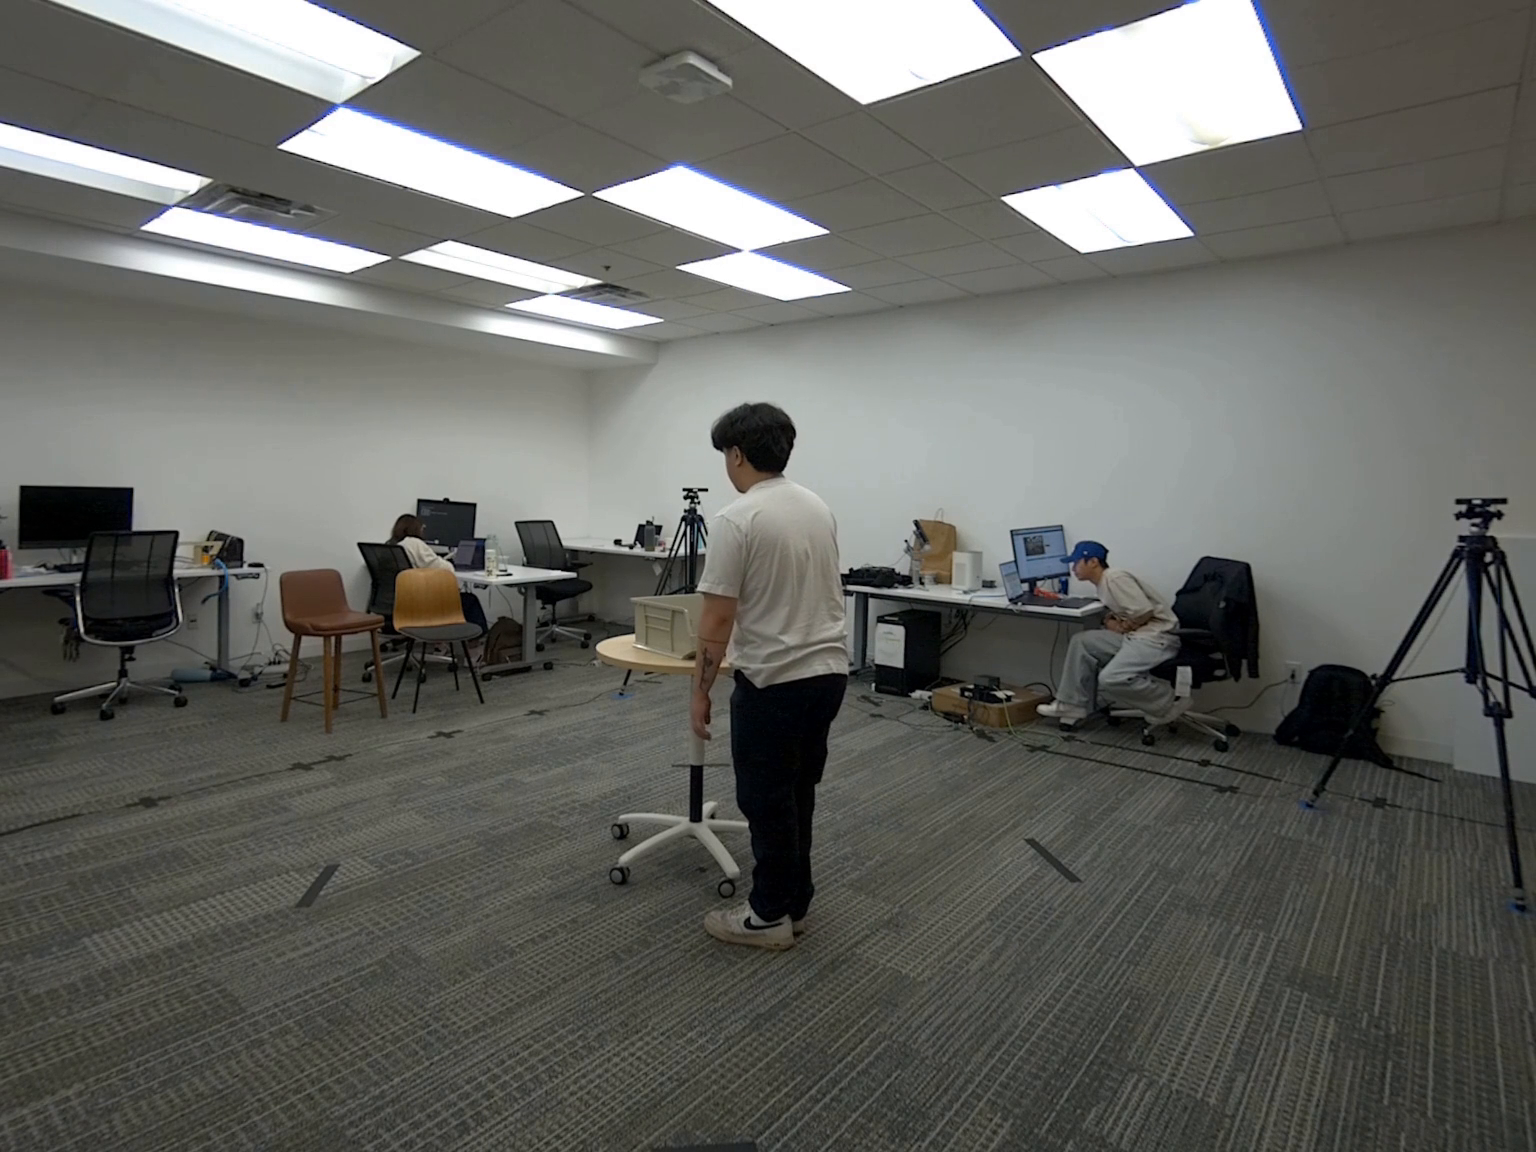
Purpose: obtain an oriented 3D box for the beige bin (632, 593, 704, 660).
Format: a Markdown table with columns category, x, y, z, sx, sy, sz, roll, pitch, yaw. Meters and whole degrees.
| category | x | y | z | sx | sy | sz | roll | pitch | yaw |
| --- | --- | --- | --- | --- | --- | --- | --- | --- | --- |
| beige bin | -0.244 | 0.174 | 3.143 | 0.410 | 0.188 | 0.390 | -5 | 6 | -40 |
